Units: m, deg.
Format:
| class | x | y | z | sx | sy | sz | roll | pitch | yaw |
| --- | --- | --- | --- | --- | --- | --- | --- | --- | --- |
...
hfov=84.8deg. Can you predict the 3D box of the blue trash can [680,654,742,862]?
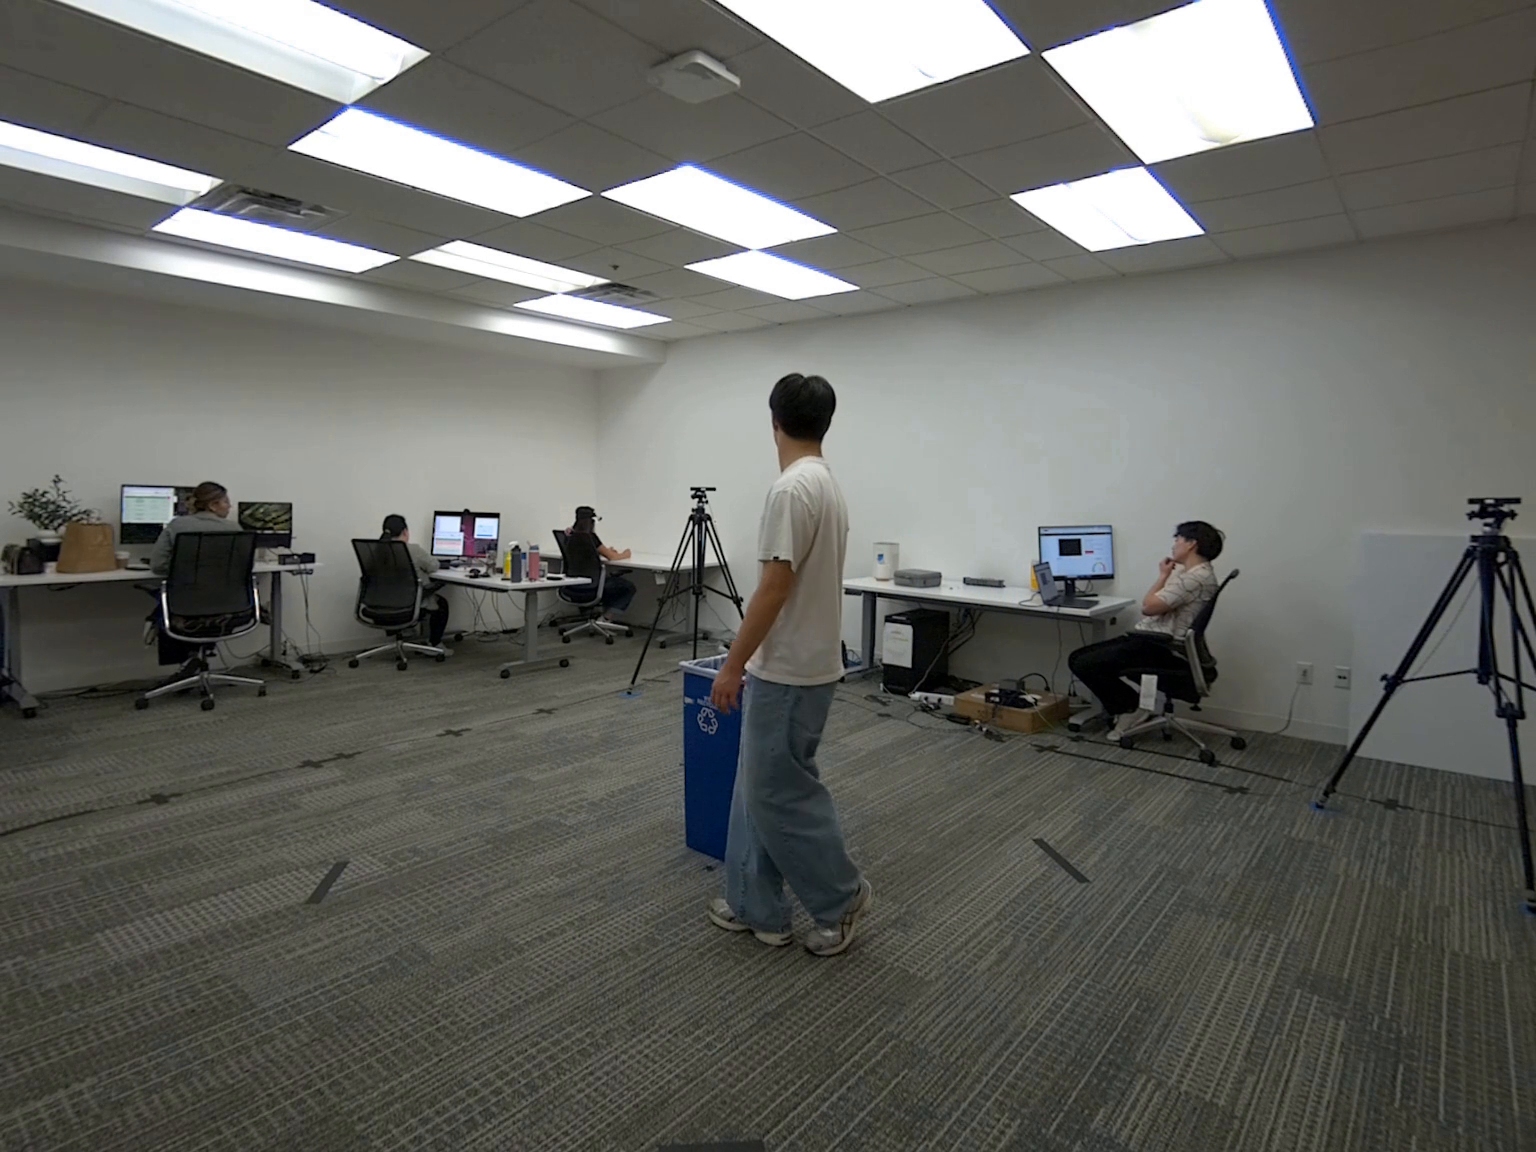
| class | x | y | z | sx | sy | sz | roll | pitch | yaw |
| --- | --- | --- | --- | --- | --- | --- | --- | --- | --- |
| blue trash can | -0.109 | 0.690 | 3.292 | 0.386 | 0.711 | 0.367 | 4 | 4 | 40 |
